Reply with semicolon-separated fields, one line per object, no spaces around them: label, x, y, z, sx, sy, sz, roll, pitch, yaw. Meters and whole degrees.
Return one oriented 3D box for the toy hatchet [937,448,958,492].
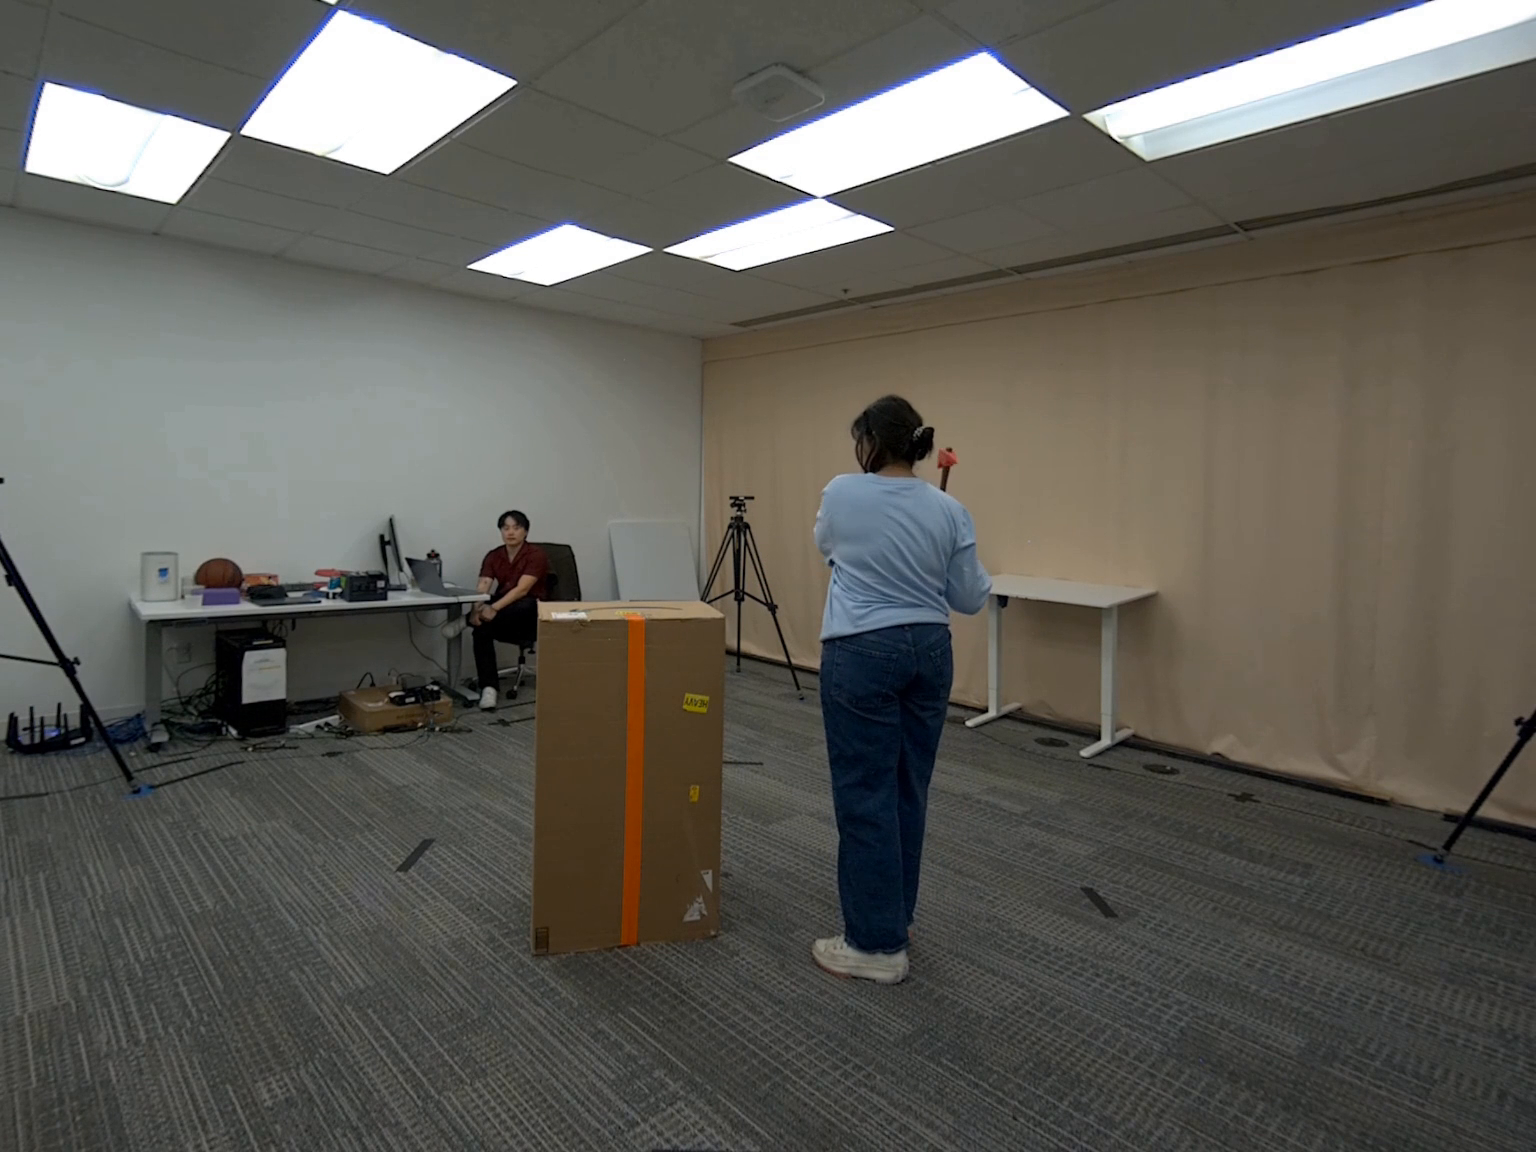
toy hatchet;0.539;-0.290;2.676;0.029;0.265;0.134;-1;41;-9
